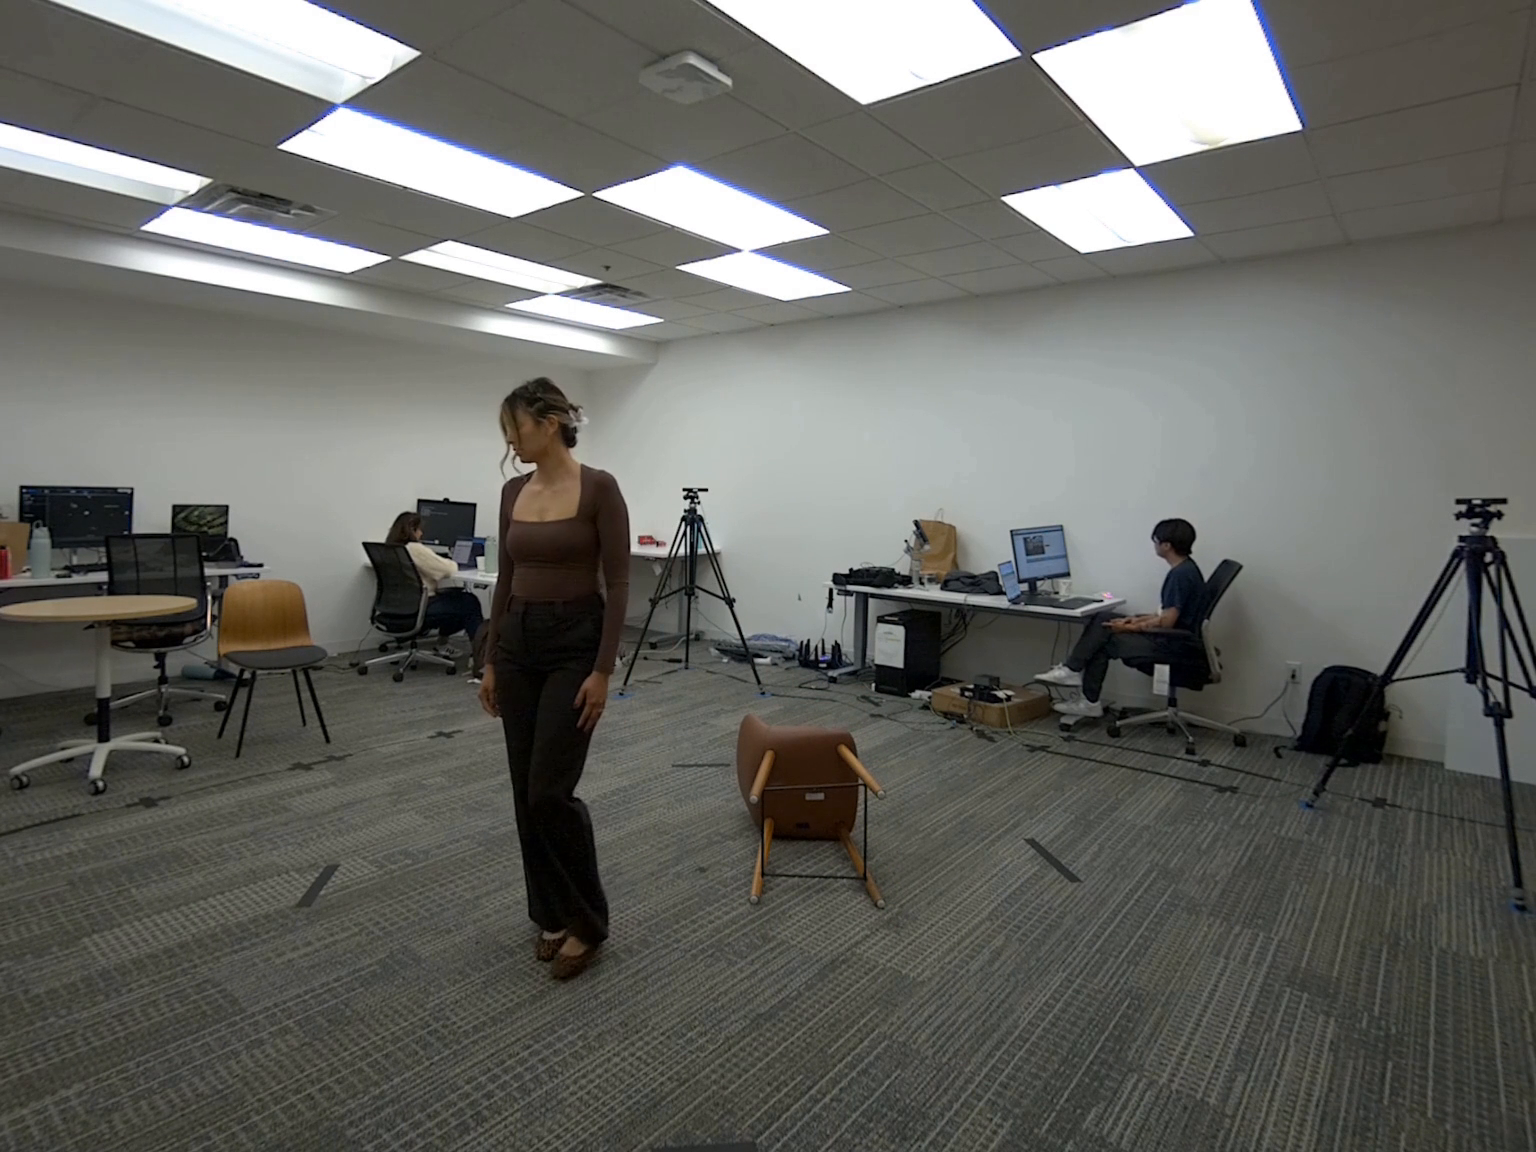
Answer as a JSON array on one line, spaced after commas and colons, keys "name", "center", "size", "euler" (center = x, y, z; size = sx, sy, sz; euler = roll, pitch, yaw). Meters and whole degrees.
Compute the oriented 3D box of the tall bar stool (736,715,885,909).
[{"name": "tall bar stool", "center": [0.129, 0.847, 3.261], "size": [0.466, 0.454, 0.898], "euler": [-1, 7, -4]}]
